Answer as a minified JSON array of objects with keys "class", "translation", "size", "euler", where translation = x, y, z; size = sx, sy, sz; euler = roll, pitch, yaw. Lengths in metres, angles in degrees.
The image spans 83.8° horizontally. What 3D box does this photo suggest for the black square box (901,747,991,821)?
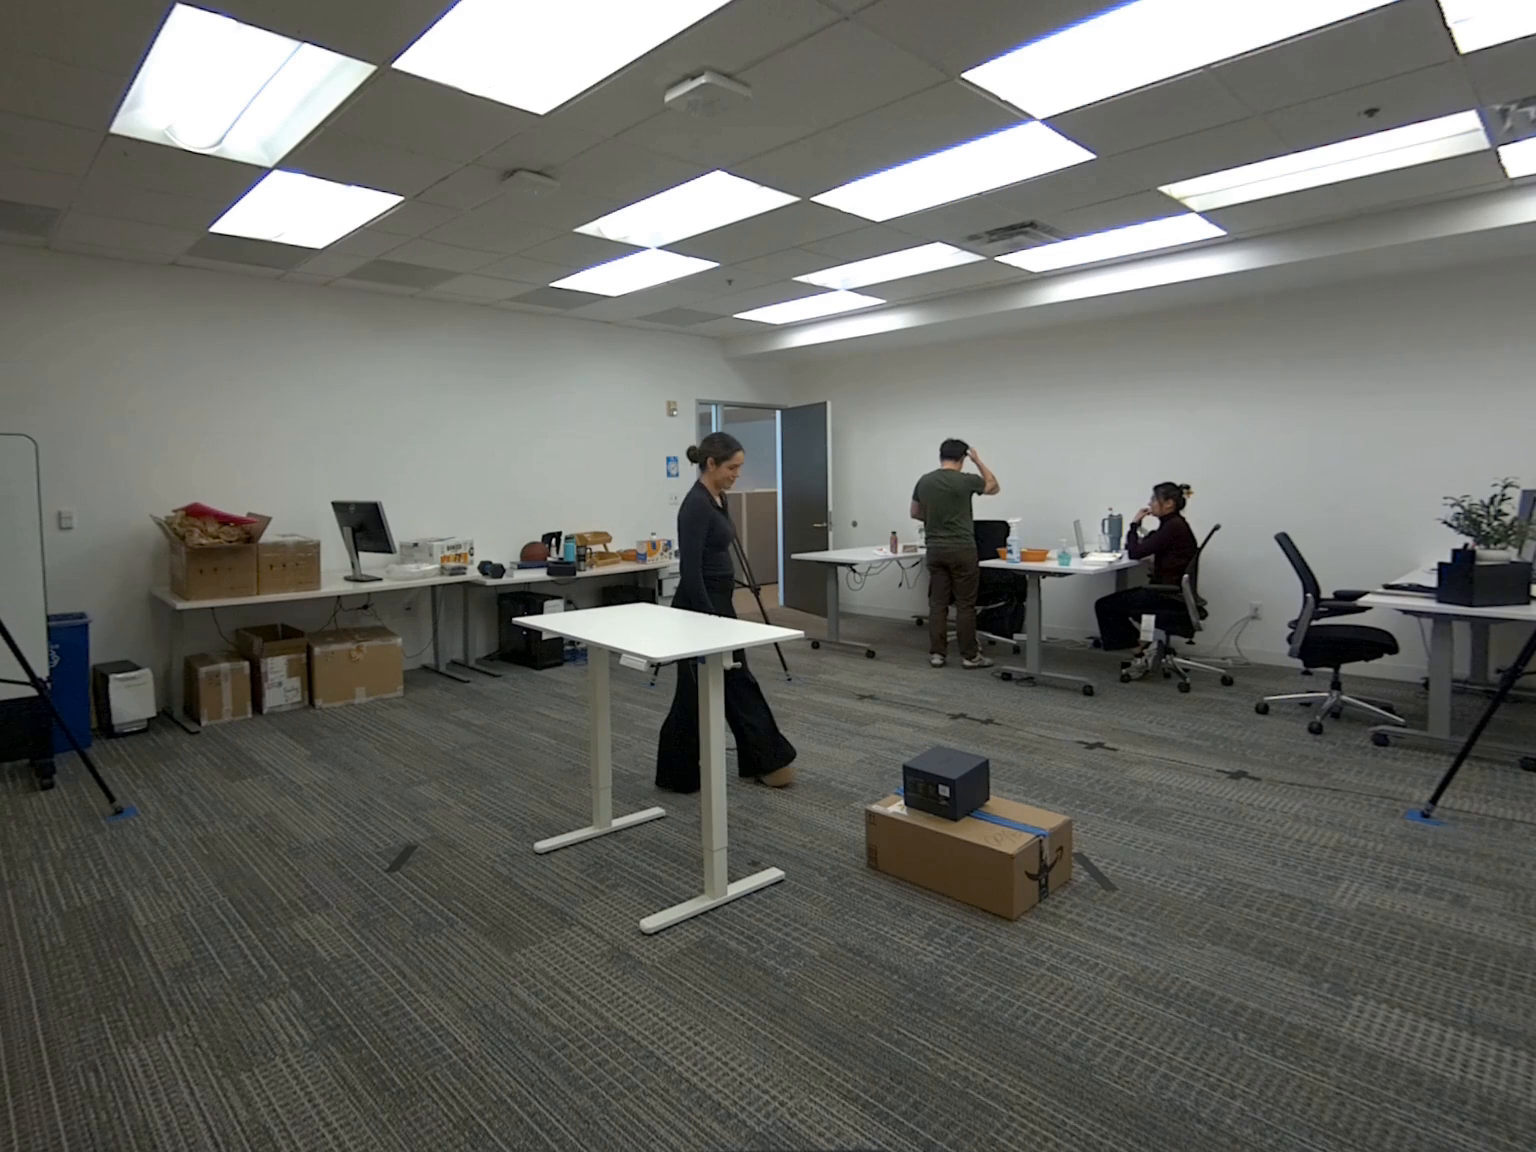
[{"class":"black square box","translation":[0.640,0.733,3.051],"size":[0.224,0.155,0.223],"euler":[5,12,44]}]
